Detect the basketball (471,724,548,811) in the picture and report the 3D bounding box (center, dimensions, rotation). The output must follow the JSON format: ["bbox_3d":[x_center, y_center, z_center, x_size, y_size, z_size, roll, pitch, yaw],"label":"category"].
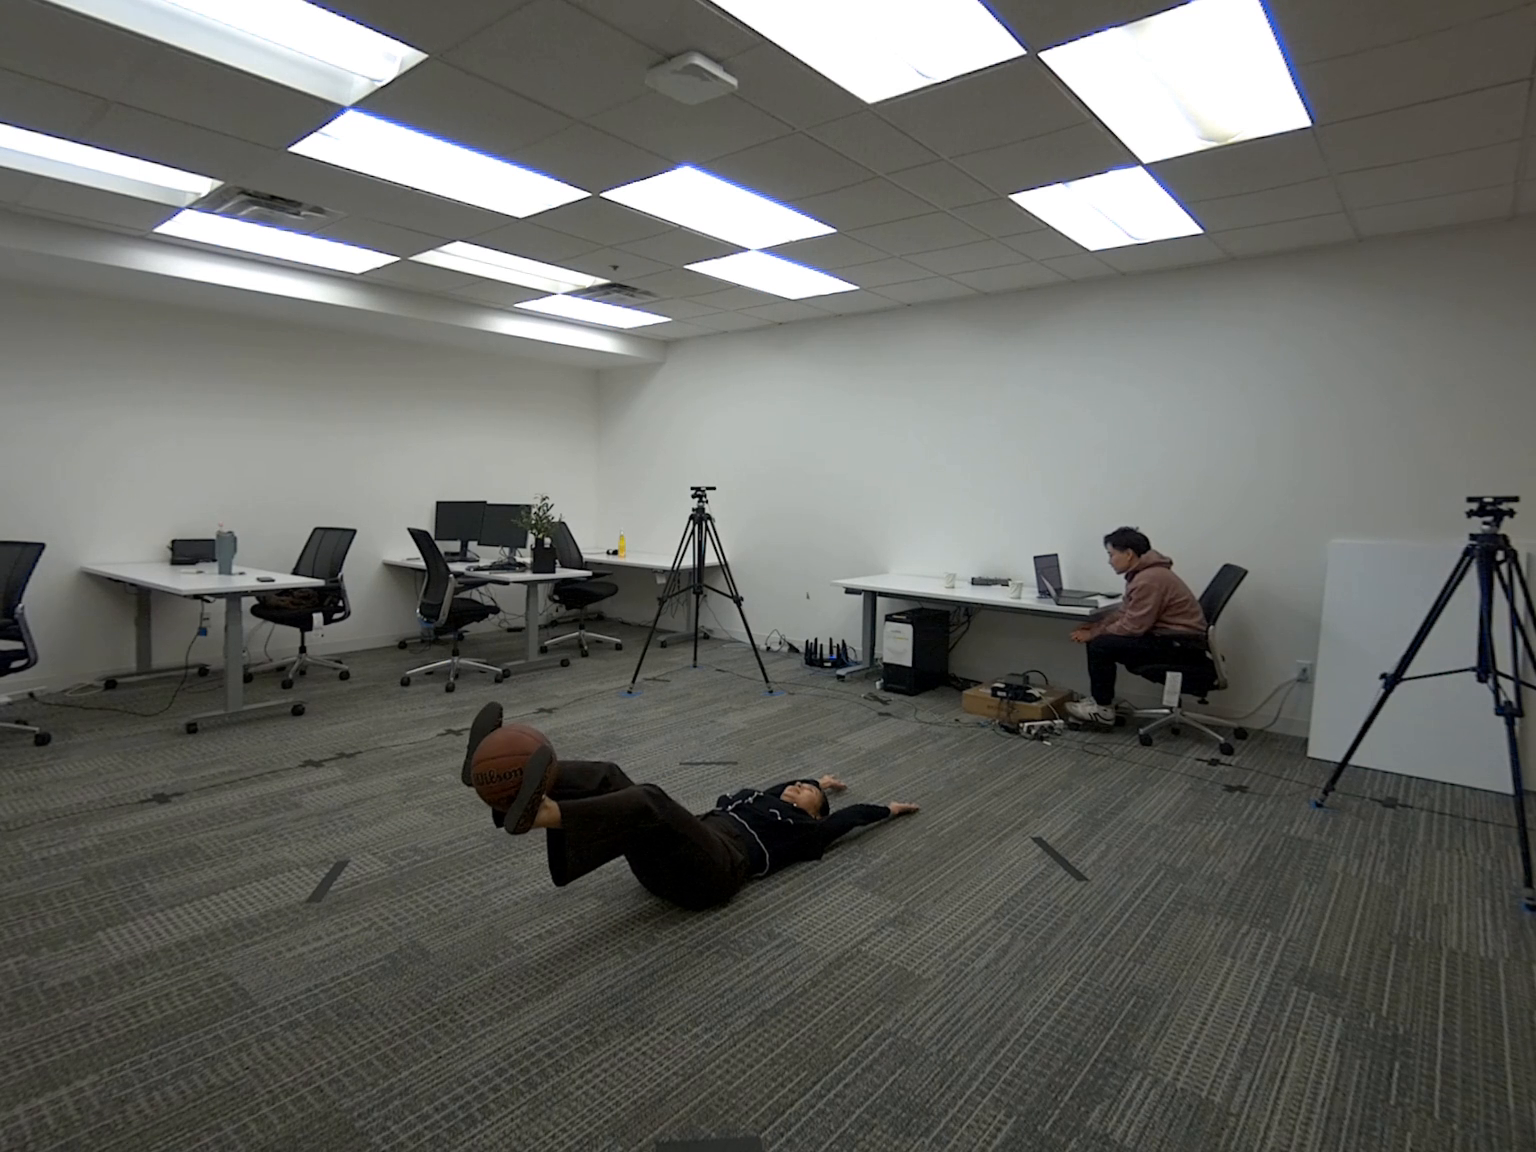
[{"bbox_3d":[-0.720,0.535,2.378,0.236,0.235,0.237,1,4,-2],"label":"basketball"}]
